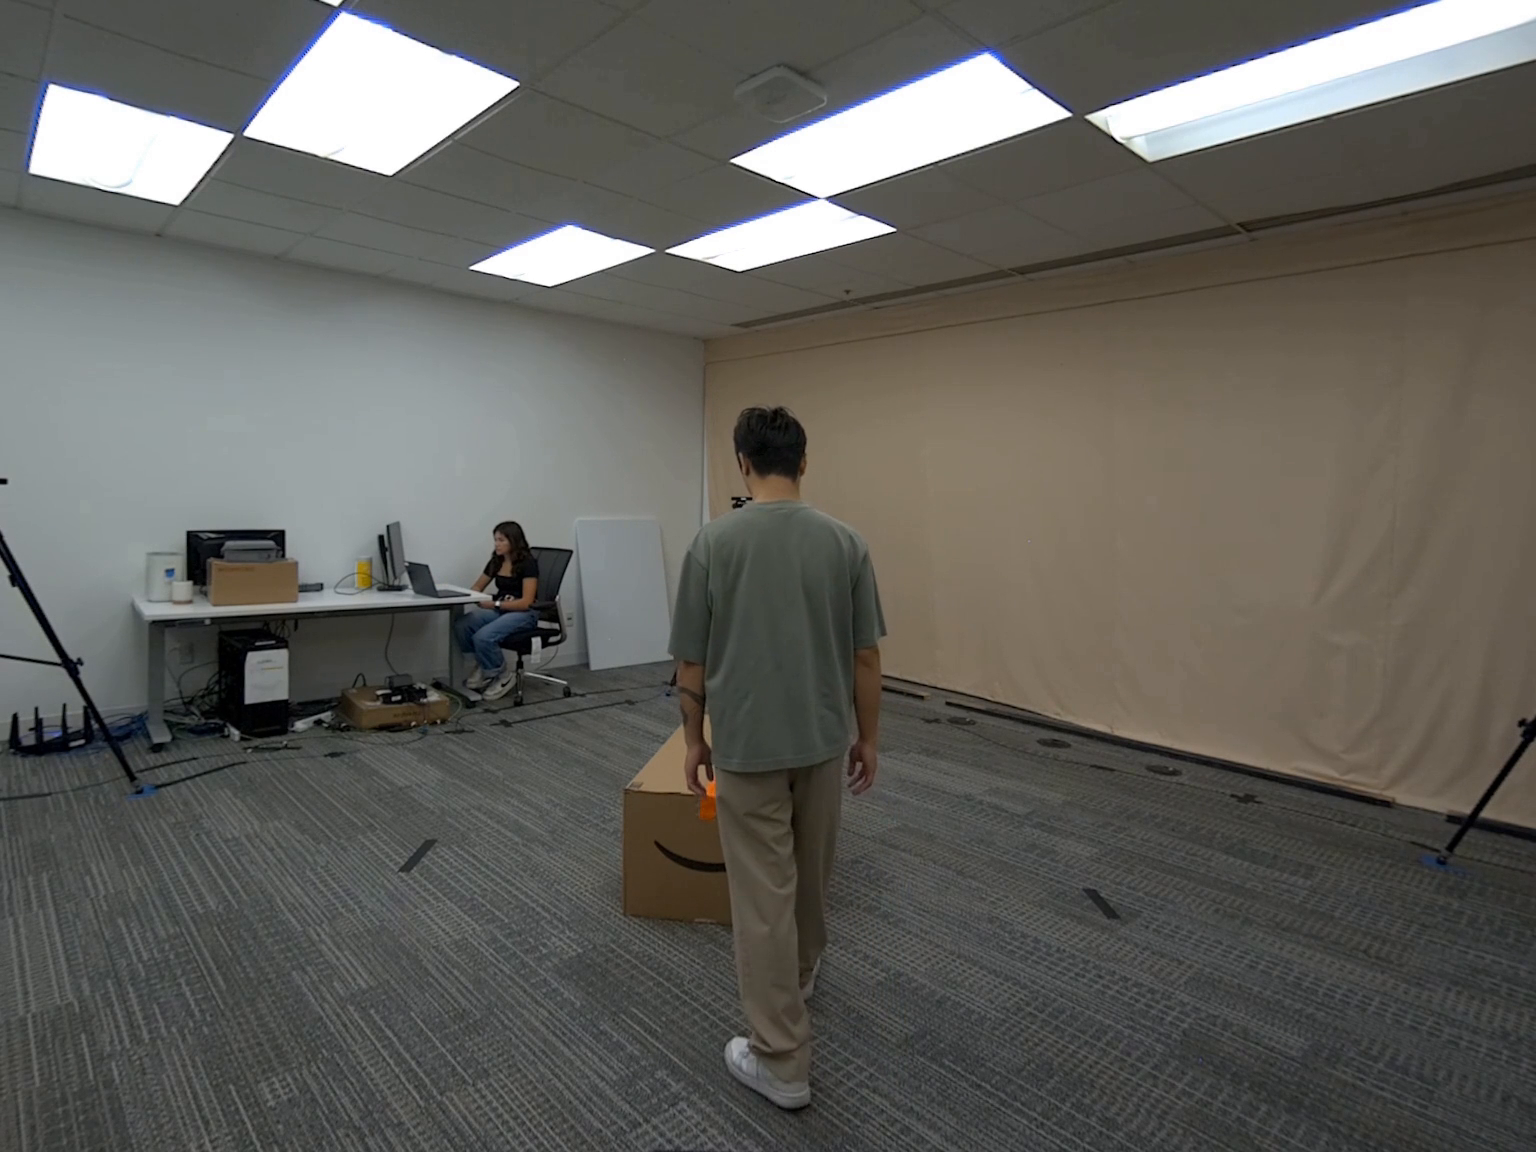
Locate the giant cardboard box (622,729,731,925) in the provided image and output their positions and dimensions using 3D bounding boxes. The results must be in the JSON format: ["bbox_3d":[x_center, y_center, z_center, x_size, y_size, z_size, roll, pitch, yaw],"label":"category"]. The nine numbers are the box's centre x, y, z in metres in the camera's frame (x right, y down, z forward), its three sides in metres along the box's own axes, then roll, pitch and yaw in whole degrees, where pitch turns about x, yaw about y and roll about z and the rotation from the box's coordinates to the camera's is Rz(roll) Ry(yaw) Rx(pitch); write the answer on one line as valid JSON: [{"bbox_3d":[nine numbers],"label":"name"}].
[{"bbox_3d":[-0.137,0.881,3.243,0.581,0.425,1.022,1,5,7],"label":"giant cardboard box"}]
